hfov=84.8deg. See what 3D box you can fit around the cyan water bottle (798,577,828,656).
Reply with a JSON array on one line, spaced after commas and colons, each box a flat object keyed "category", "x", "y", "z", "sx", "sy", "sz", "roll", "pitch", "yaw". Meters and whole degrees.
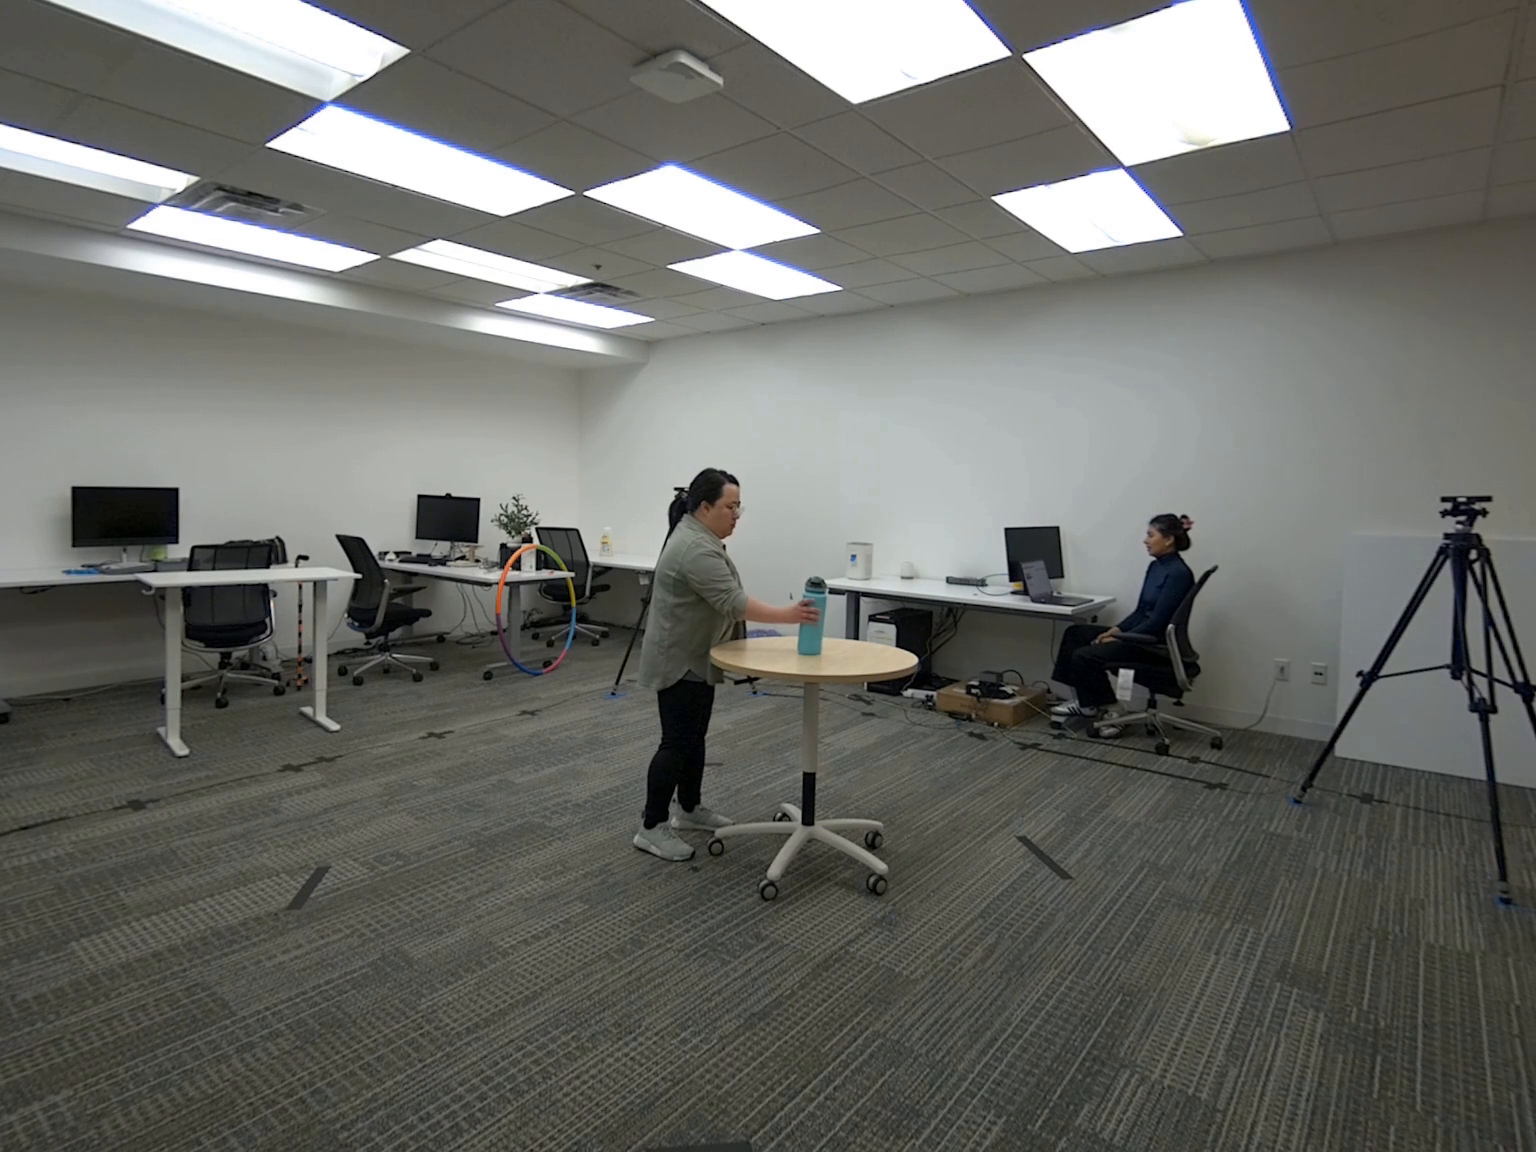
[{"category": "cyan water bottle", "x": 0.149, "y": 0.136, "z": 3.158, "sx": 0.092, "sy": 0.282, "sz": 0.093, "roll": 3, "pitch": 5, "yaw": -2}]
